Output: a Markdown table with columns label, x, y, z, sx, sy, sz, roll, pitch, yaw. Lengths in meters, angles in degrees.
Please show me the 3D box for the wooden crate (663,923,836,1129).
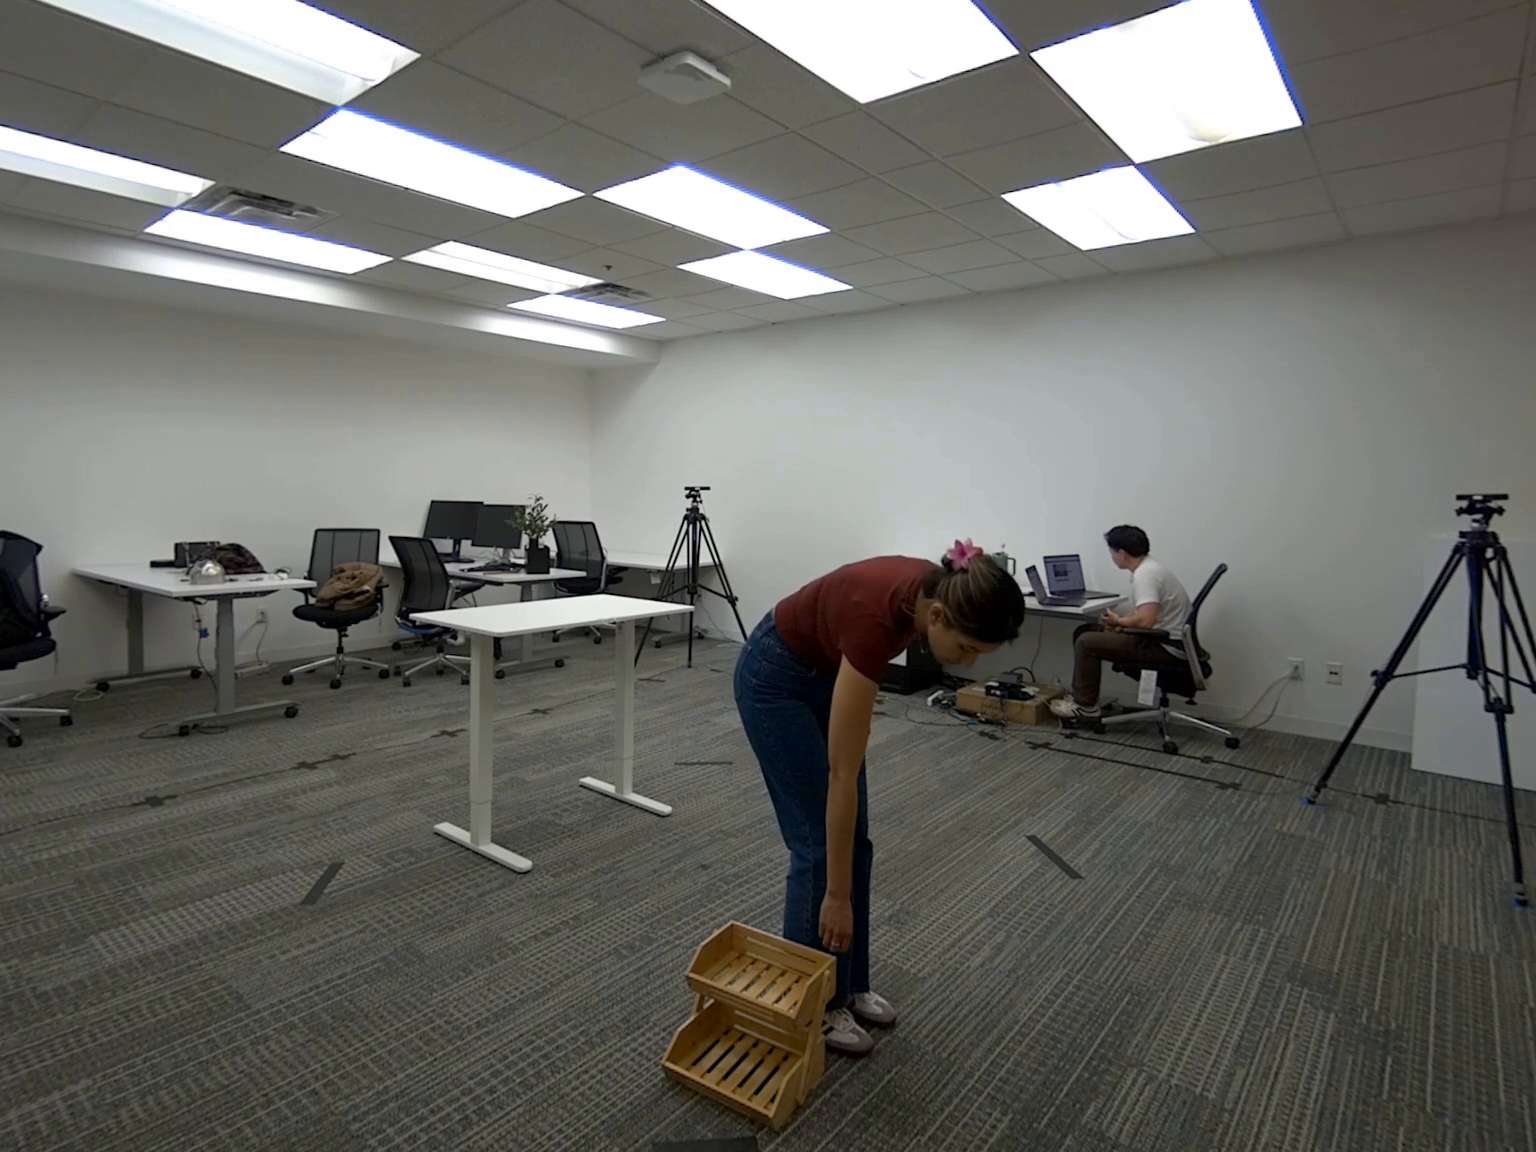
| label | x | y | z | sx | sy | sz | roll | pitch | yaw |
| --- | --- | --- | --- | --- | --- | --- | --- | --- | --- |
| wooden crate | -0.050 | 1.048 | 2.023 | 0.334 | 0.272 | 0.294 | 4 | 5 | 32 |
